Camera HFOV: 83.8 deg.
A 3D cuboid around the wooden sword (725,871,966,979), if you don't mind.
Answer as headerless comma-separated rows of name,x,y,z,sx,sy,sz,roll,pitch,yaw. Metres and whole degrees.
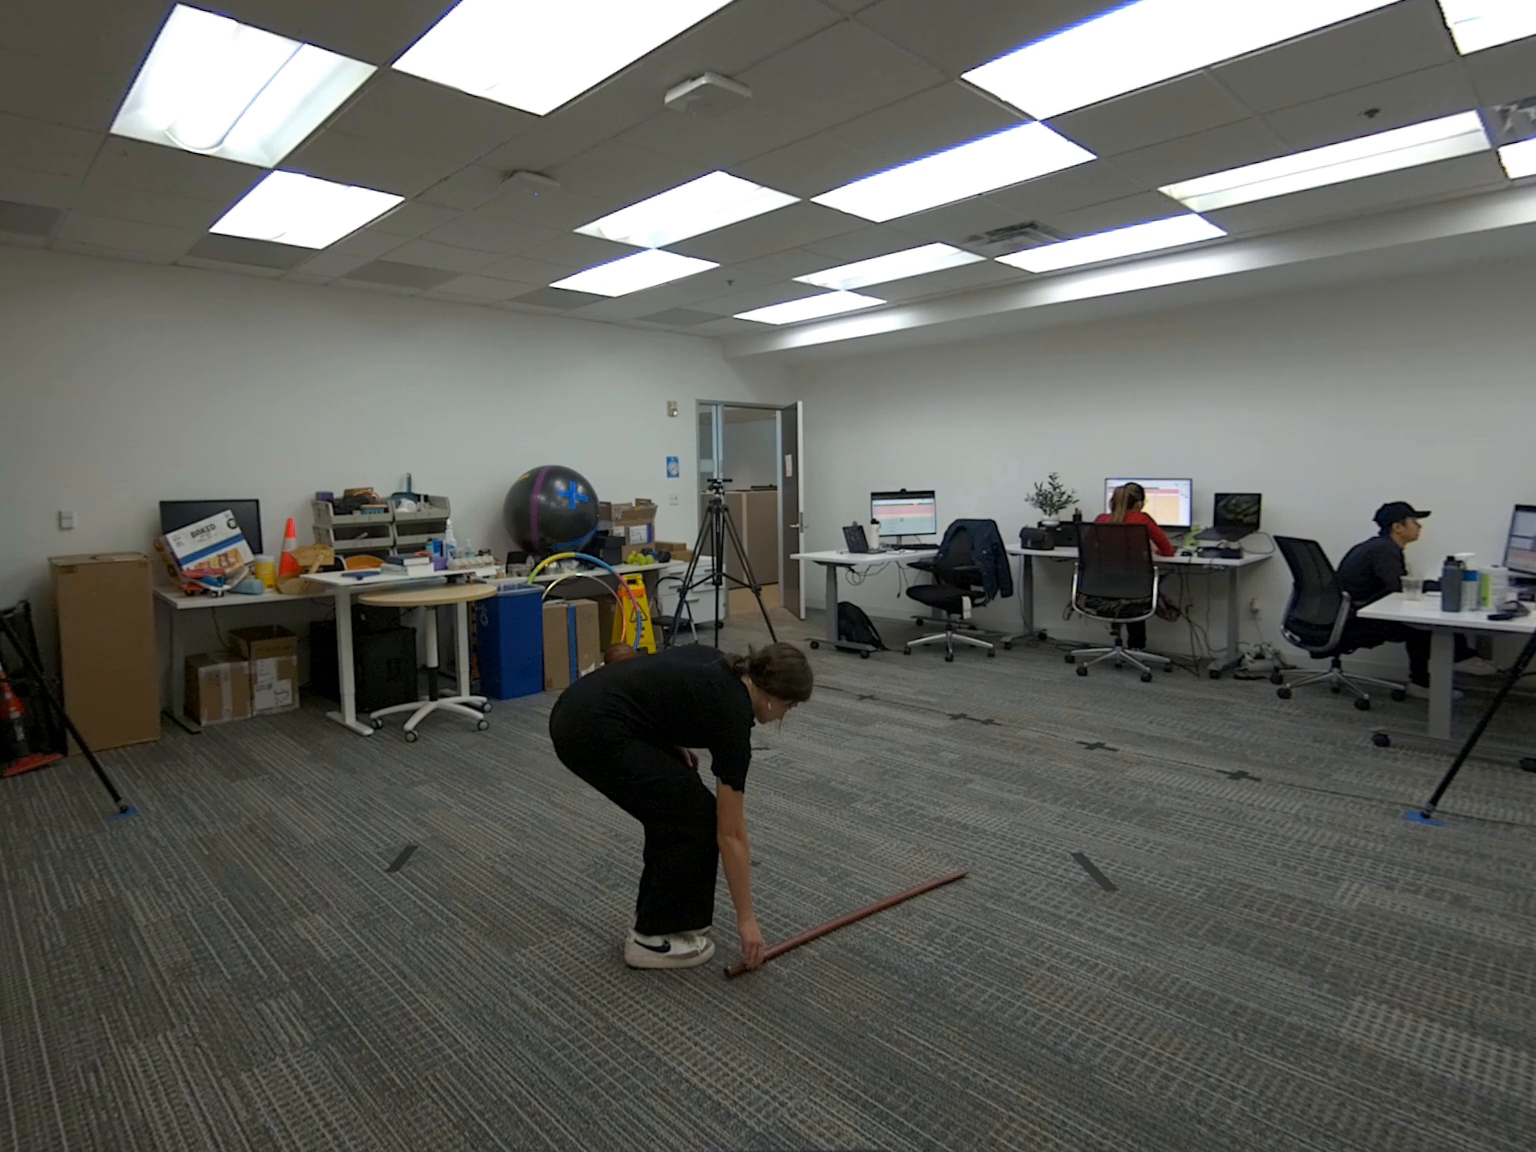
wooden sword,0.279,1.064,2.707,0.999,0.024,0.052,-5,-7,-34
